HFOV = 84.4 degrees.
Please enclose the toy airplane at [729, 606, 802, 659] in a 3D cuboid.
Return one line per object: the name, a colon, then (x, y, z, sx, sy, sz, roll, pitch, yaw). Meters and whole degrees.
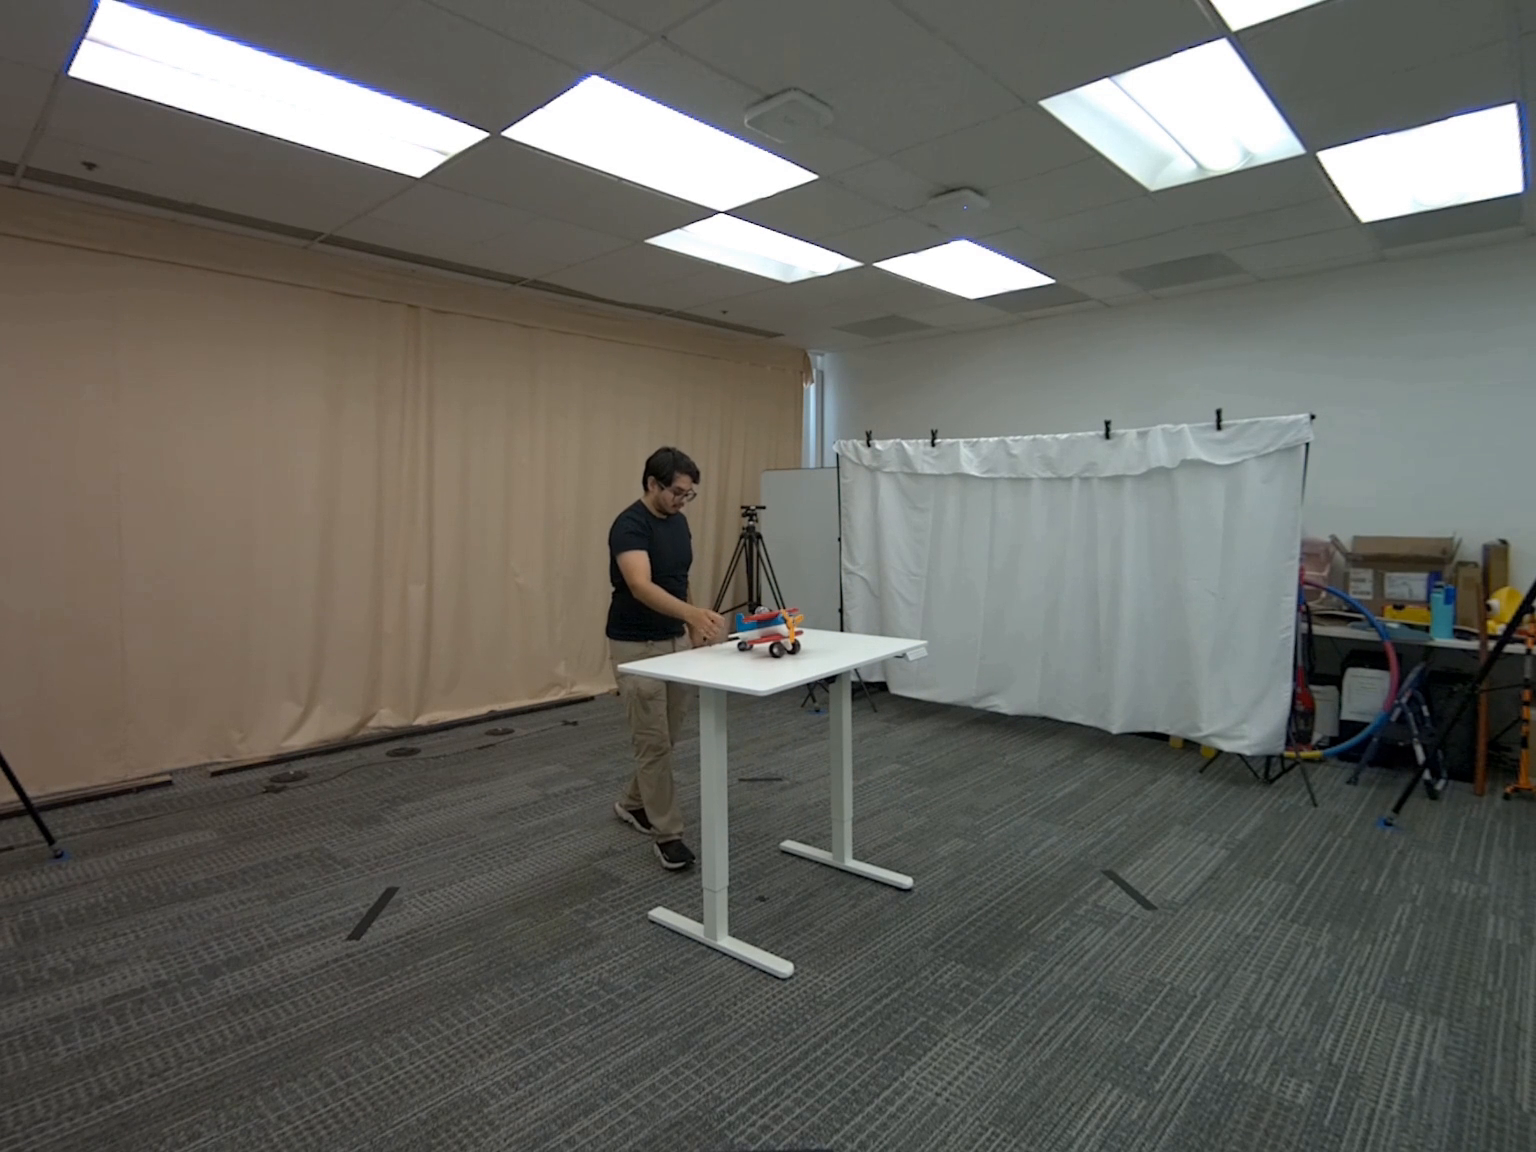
toy airplane: (-0.011, 0.192, 2.887, 0.263, 0.156, 0.248, 1, 5, 13)
